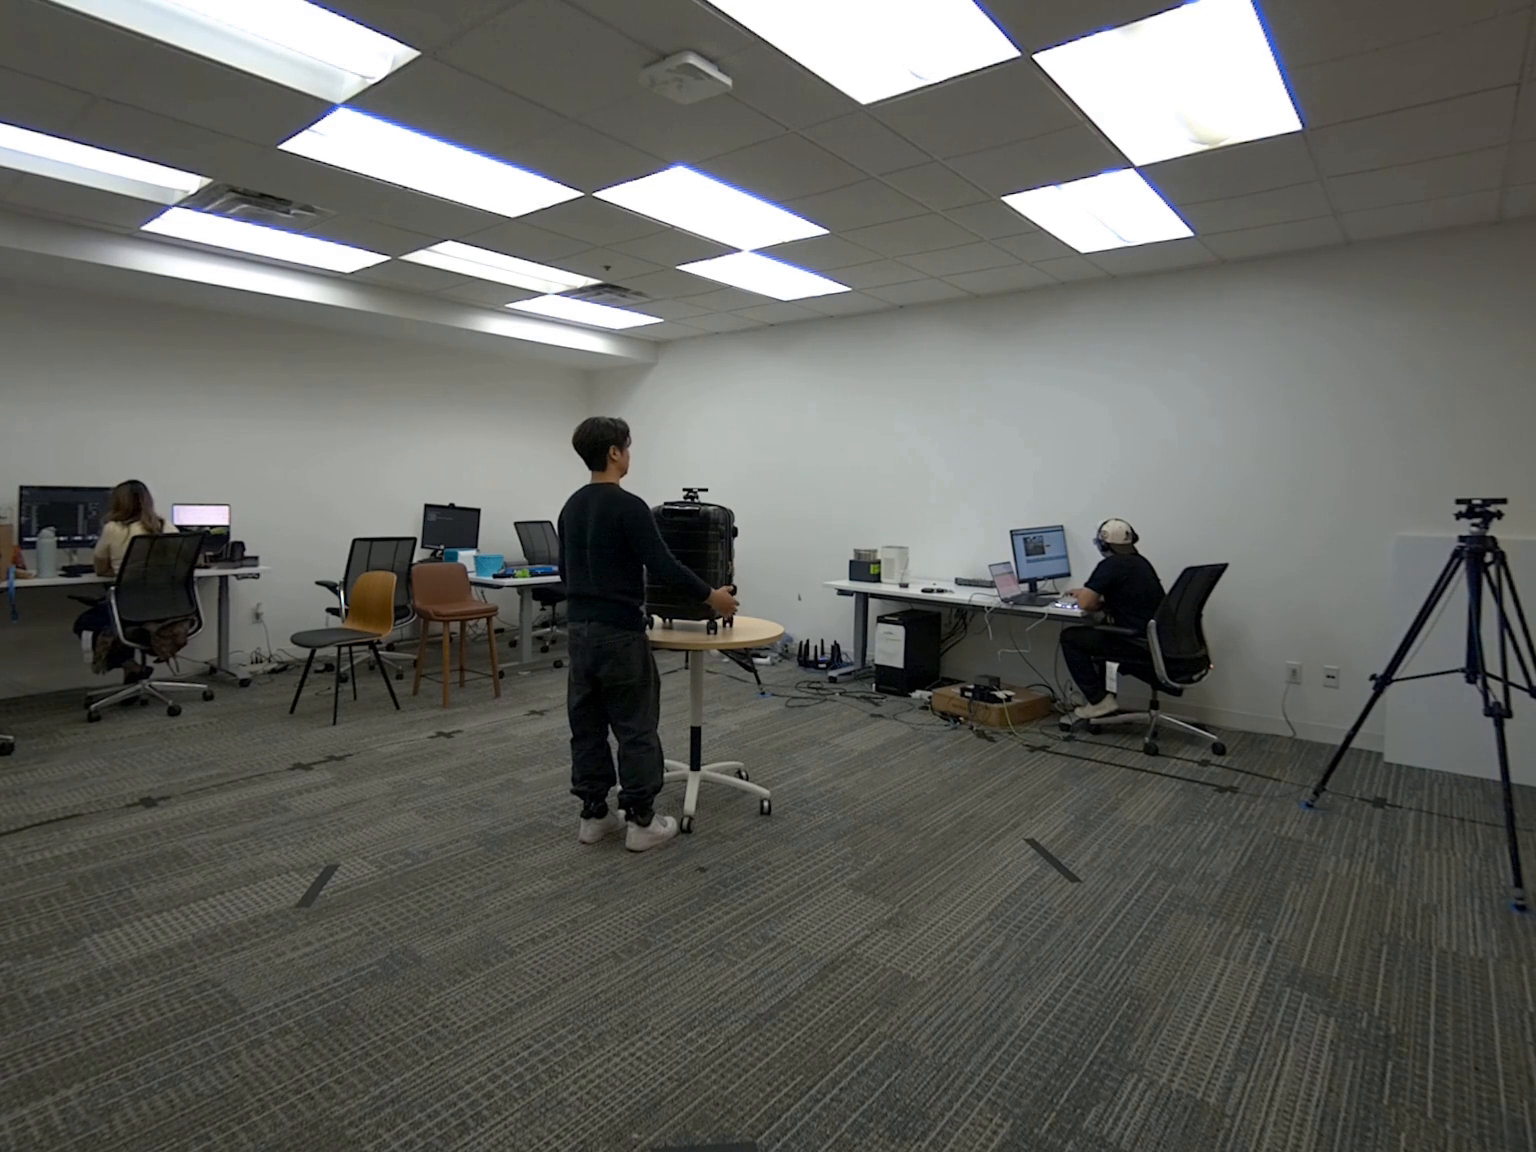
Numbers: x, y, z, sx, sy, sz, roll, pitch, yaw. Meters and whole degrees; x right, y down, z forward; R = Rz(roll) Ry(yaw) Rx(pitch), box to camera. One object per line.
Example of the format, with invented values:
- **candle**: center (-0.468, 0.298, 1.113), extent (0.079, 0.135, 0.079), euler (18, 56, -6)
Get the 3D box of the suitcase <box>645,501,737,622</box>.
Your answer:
- **suitcase**: center (-0.354, -0.054, 3.732), extent (0.383, 0.548, 0.244), euler (2, 2, 19)
